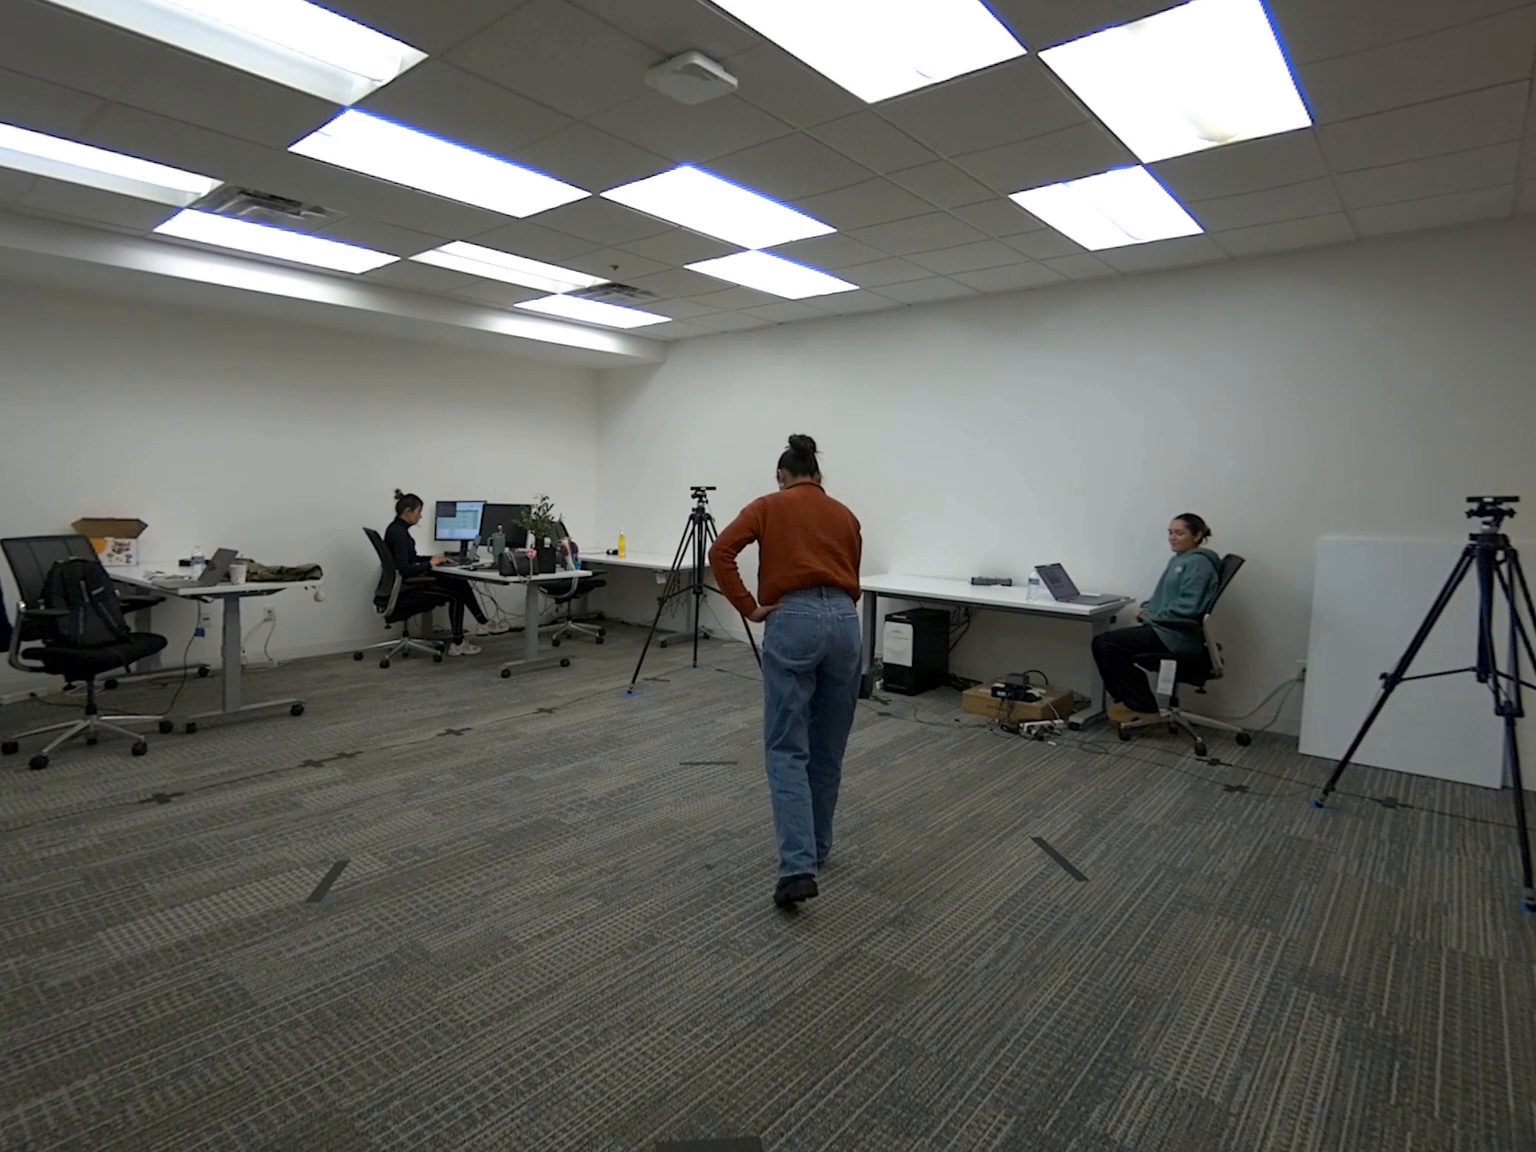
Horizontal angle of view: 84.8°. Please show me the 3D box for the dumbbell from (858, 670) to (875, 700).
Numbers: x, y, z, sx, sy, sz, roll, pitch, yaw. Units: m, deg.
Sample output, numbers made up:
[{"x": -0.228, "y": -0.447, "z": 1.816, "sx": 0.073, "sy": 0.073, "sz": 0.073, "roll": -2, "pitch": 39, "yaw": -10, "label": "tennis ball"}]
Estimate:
[{"x": 0.240, "y": 0.402, "z": 3.250, "sx": 0.300, "sy": 0.124, "sz": 0.105, "roll": -1, "pitch": -7, "yaw": 24, "label": "dumbbell"}]
